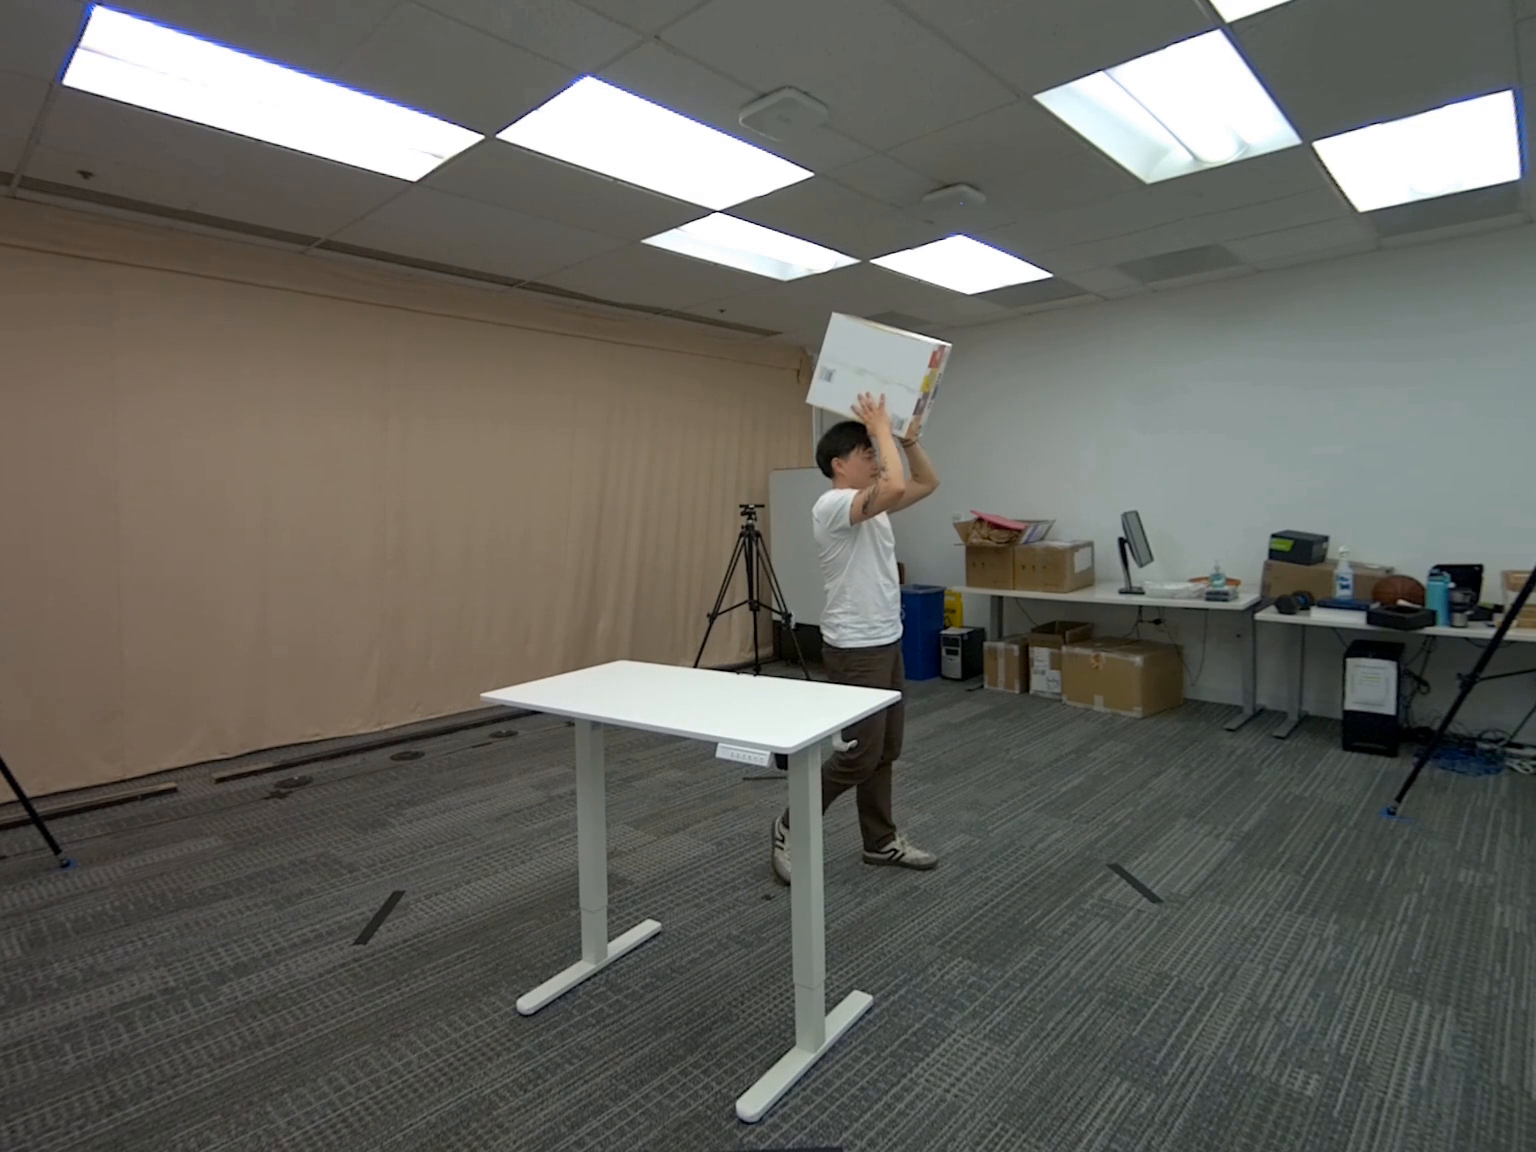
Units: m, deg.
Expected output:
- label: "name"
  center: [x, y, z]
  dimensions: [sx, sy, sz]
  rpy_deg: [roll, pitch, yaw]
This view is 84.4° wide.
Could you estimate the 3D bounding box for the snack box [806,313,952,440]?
- label: "snack box"
  center: [0.402, -0.725, 3.057]
  dimensions: [0.416, 0.338, 0.201]
  rpy_deg: [24, 20, 23]
